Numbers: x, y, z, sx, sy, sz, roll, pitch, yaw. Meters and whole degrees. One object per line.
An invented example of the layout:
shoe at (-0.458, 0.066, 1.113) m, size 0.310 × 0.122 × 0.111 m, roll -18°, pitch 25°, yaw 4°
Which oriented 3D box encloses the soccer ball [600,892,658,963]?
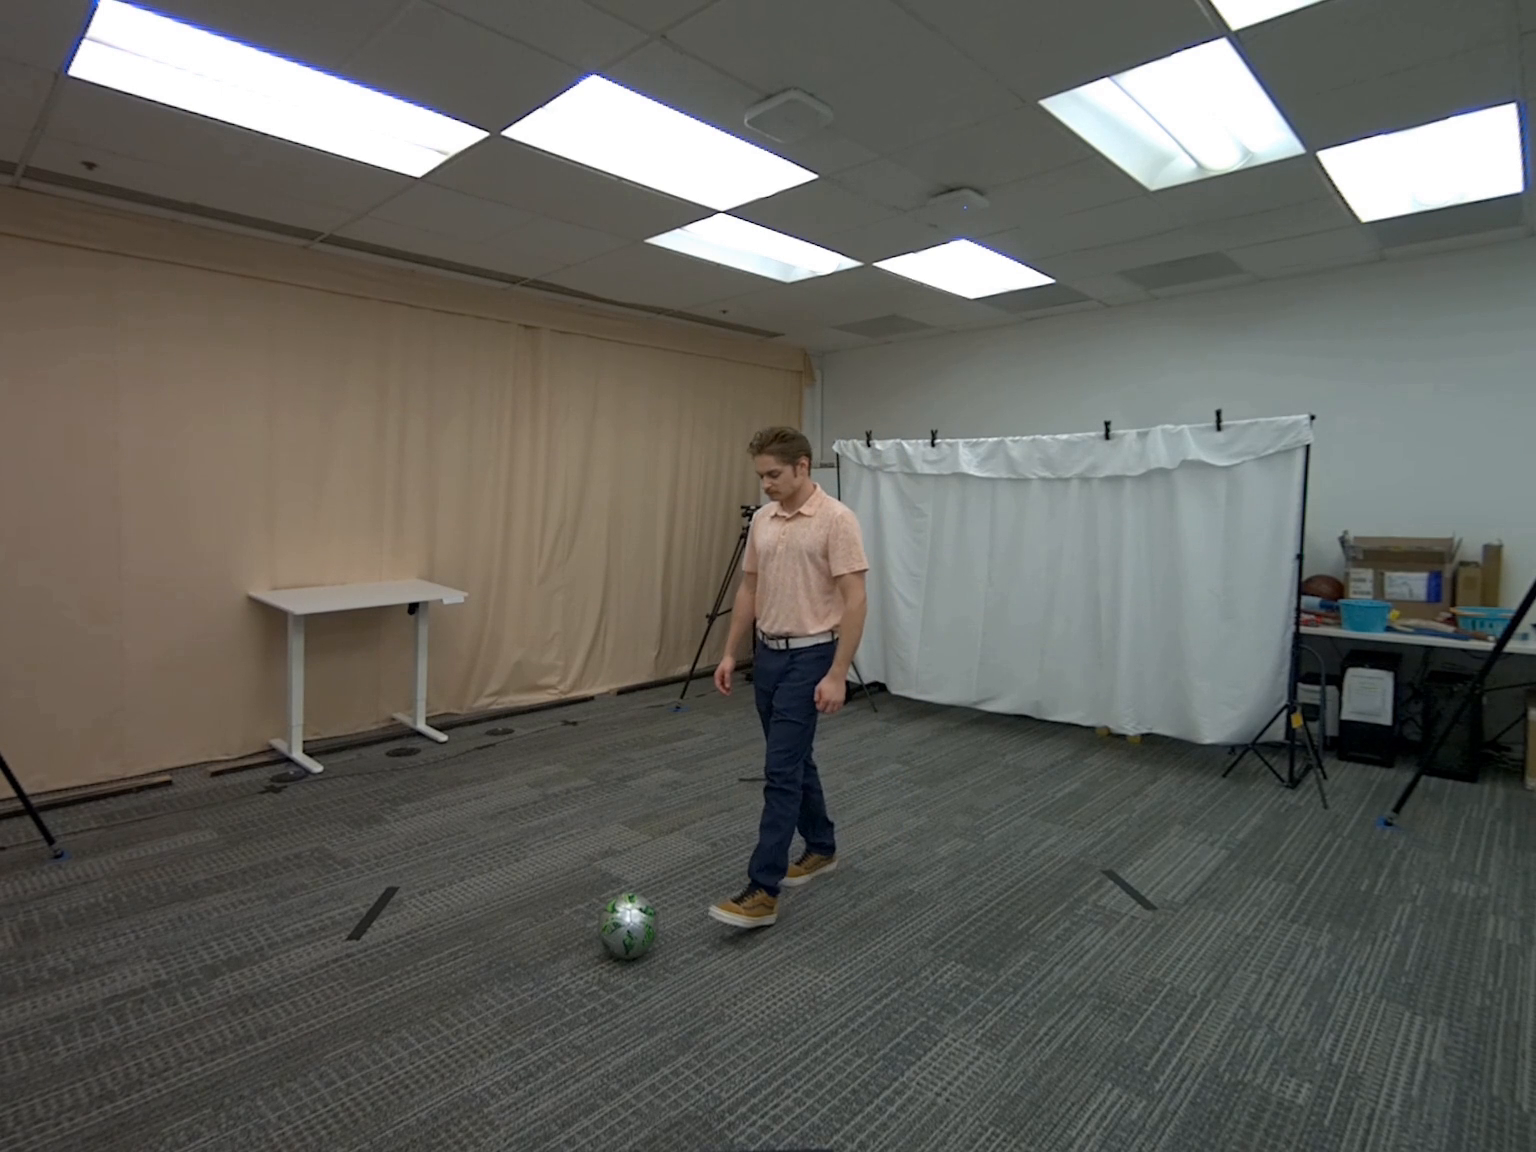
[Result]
soccer ball at (-0.431, 1.084, 2.607) m, size 0.187 × 0.187 × 0.188 m, roll 0°, pitch 4°, yaw -2°
